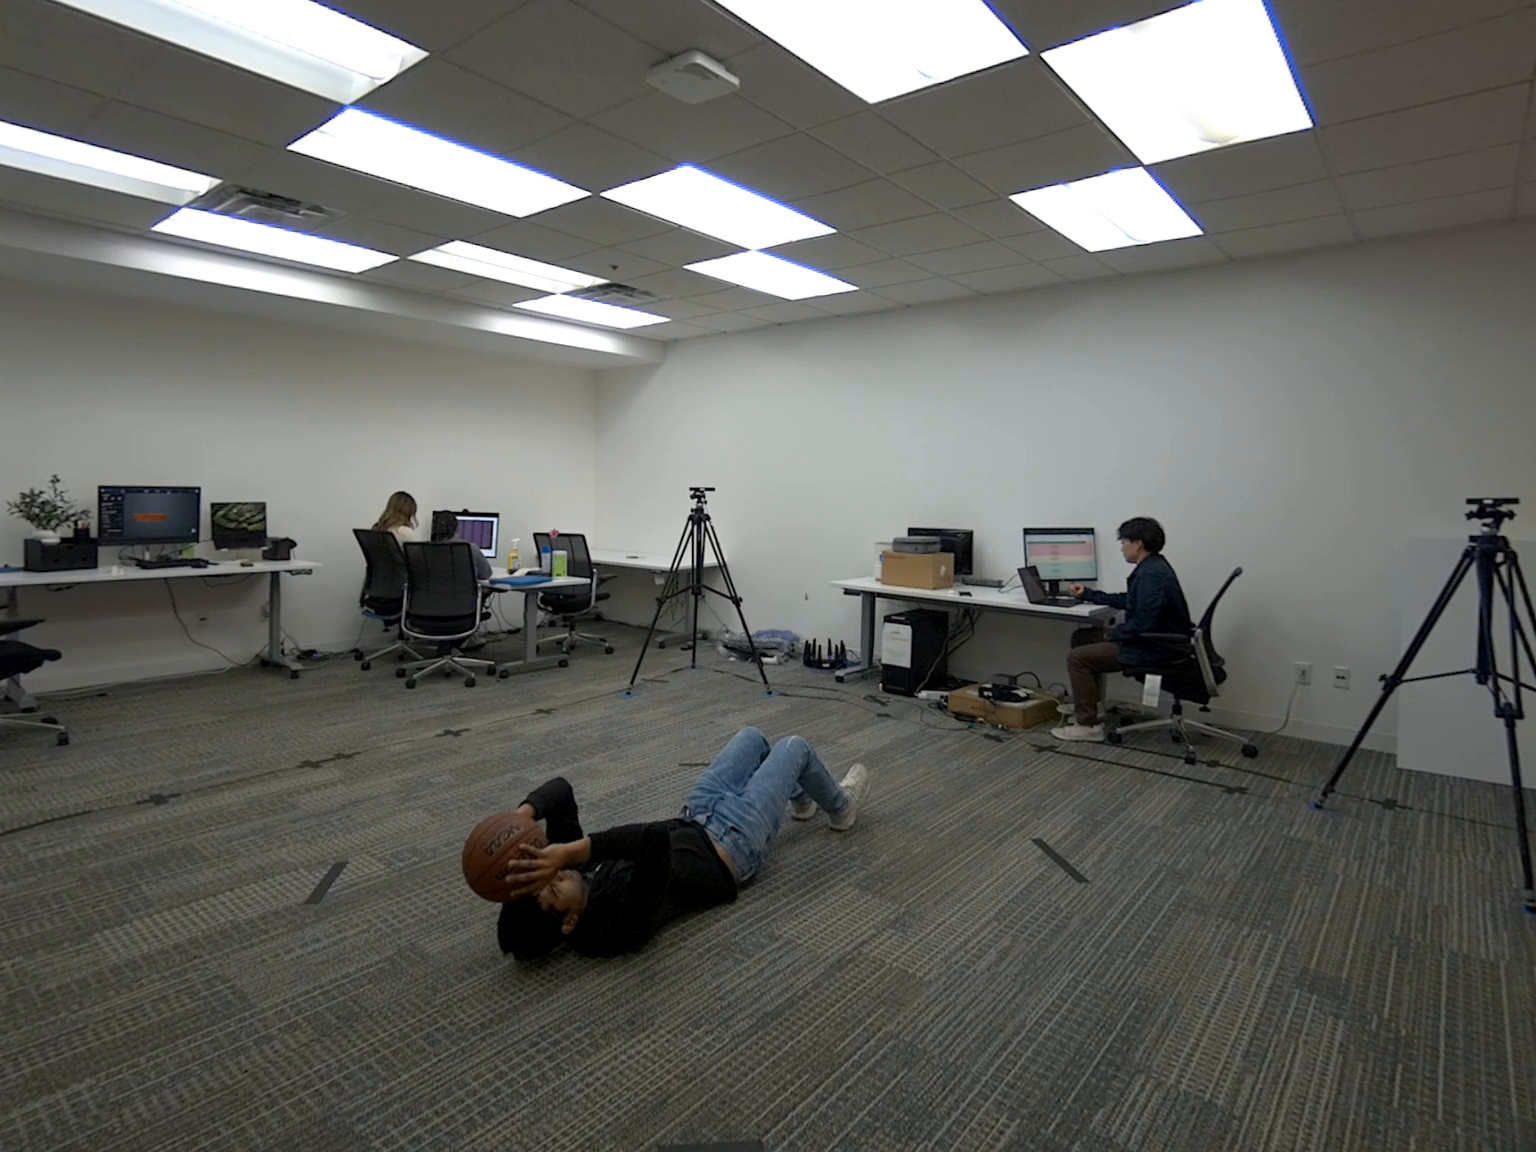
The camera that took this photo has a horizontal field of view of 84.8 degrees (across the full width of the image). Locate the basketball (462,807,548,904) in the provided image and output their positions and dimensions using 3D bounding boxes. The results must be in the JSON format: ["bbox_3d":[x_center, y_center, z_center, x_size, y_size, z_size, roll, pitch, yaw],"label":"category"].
[{"bbox_3d":[-0.738,0.779,2.389,0.235,0.235,0.237,1,4,-2],"label":"basketball"}]
